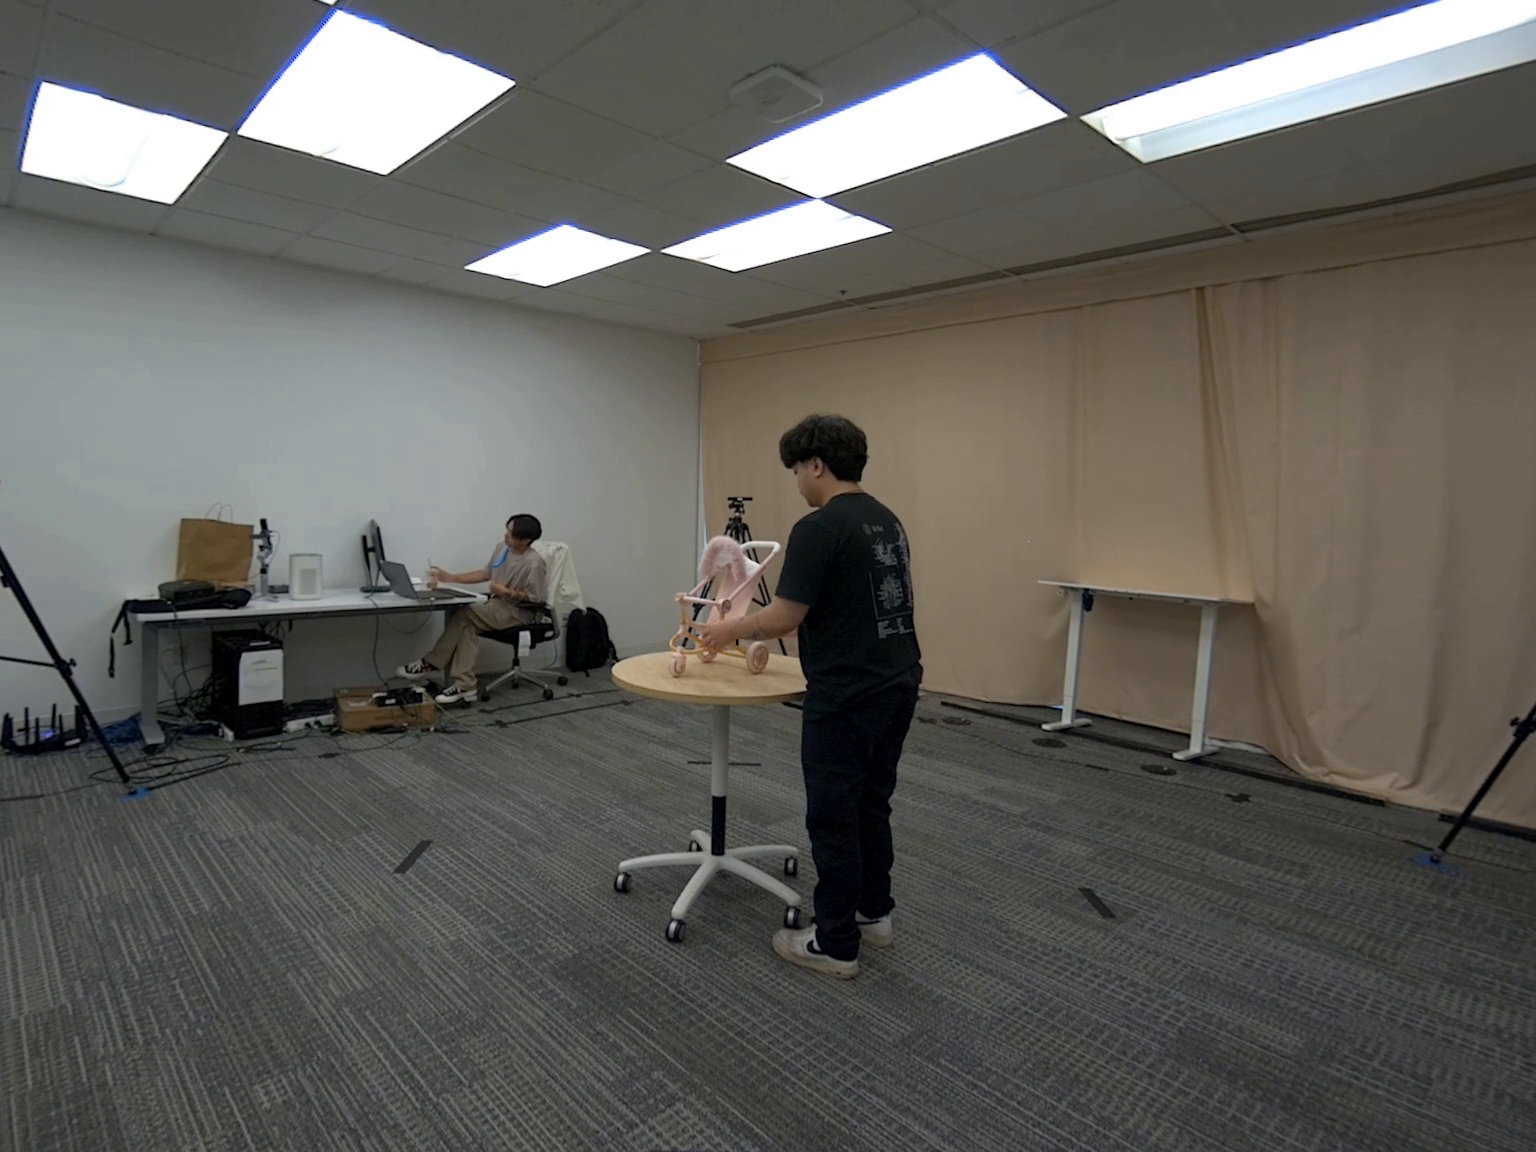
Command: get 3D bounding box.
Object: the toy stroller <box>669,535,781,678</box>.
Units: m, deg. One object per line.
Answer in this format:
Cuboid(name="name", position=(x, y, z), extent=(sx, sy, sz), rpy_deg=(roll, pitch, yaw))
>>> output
Cuboid(name="toy stroller", position=(-0.176, 0.103, 2.927), extent=(0.331, 0.537, 0.288), rpy_deg=(17, -8, -42))
